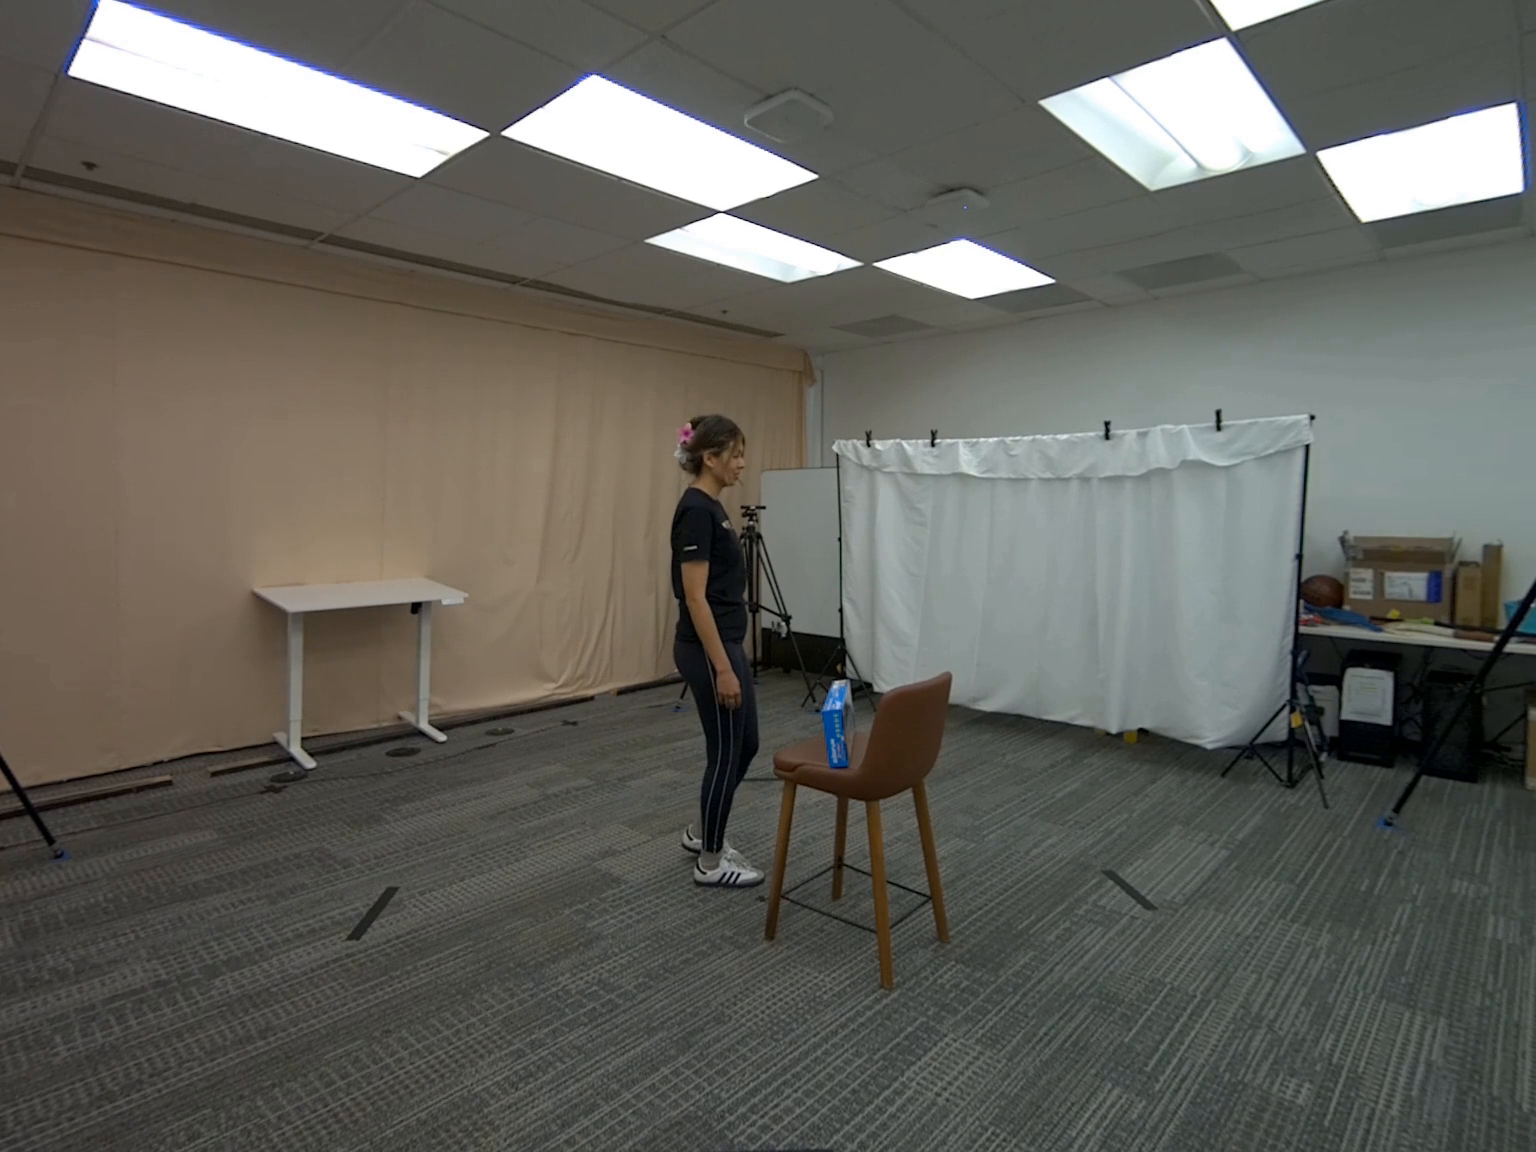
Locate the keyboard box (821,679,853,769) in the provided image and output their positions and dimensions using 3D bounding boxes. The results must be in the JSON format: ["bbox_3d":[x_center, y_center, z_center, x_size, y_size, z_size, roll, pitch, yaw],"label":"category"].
[{"bbox_3d":[0.237,0.462,2.700,0.060,0.175,0.433,-5,4,10],"label":"keyboard box"}]
